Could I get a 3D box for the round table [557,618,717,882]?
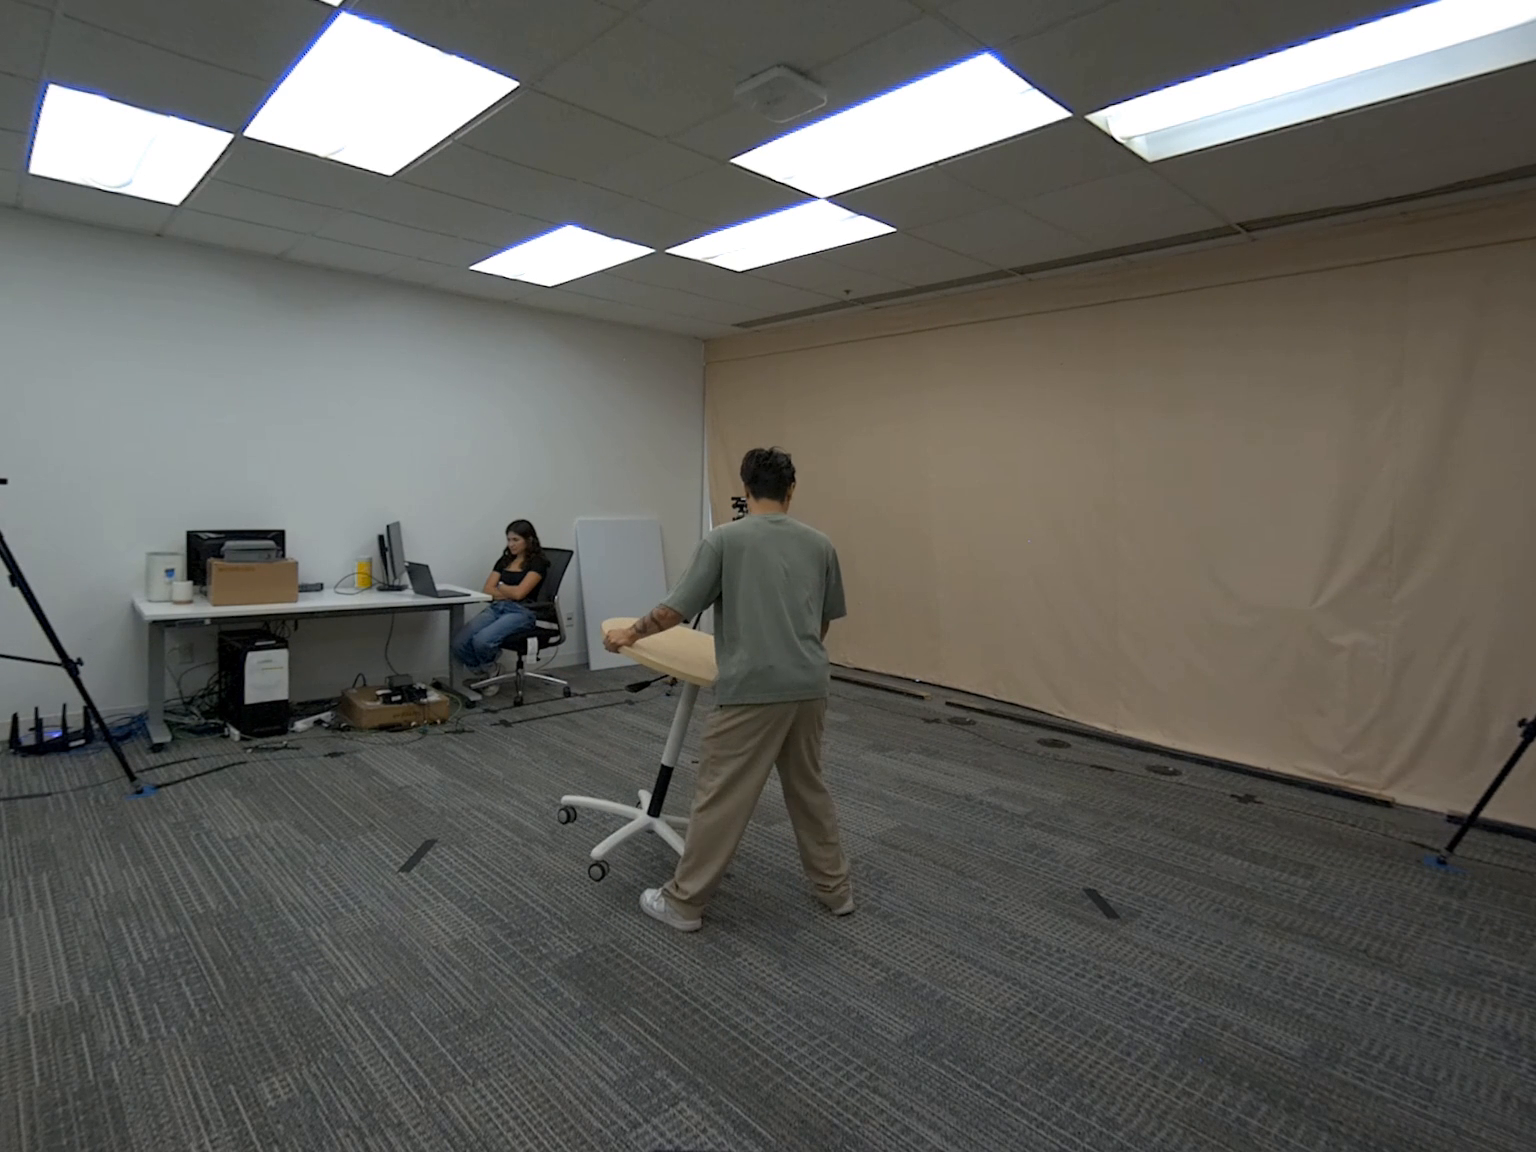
[{"bbox_3d":[-0.376,0.650,3.130,0.783,0.784,0.789,16,5,-3],"label":"round table"}]
